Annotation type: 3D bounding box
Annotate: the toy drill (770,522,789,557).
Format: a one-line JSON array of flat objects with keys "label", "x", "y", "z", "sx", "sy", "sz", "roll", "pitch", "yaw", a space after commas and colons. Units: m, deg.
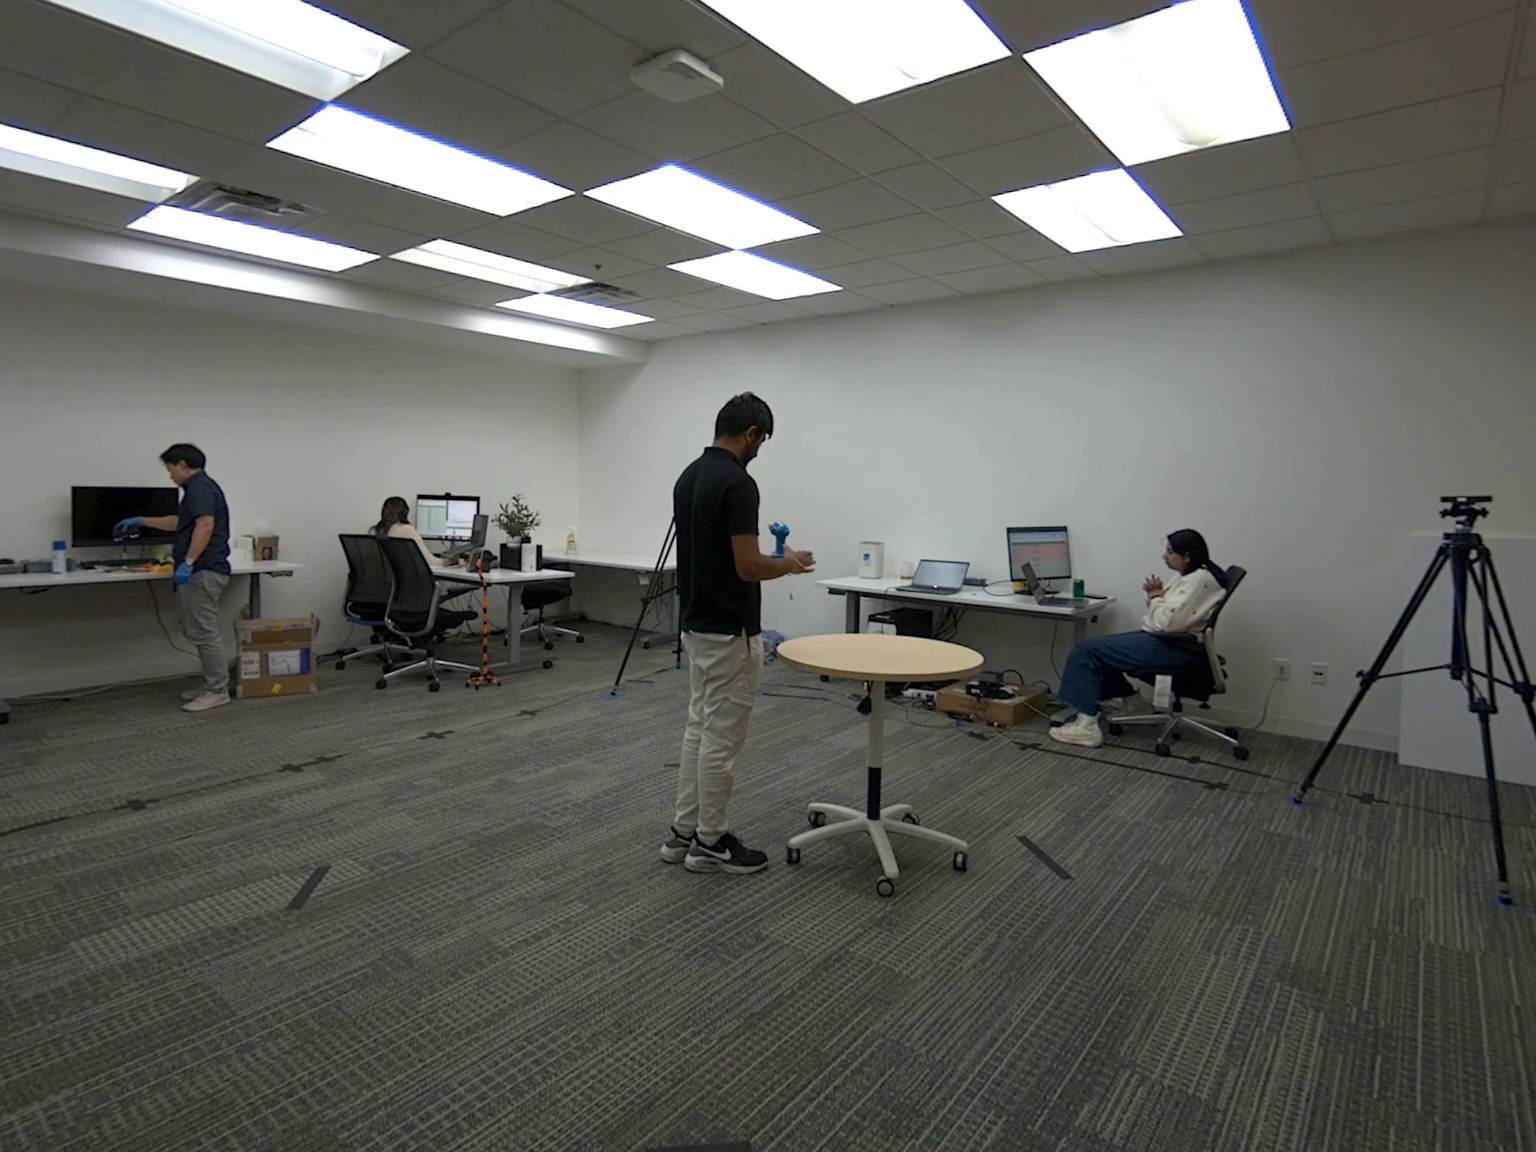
[{"label": "toy drill", "x": 0.022, "y": -0.149, "z": 3.344, "sx": 0.060, "sy": 0.144, "sz": 0.175, "roll": -2, "pitch": 12, "yaw": -23}]
